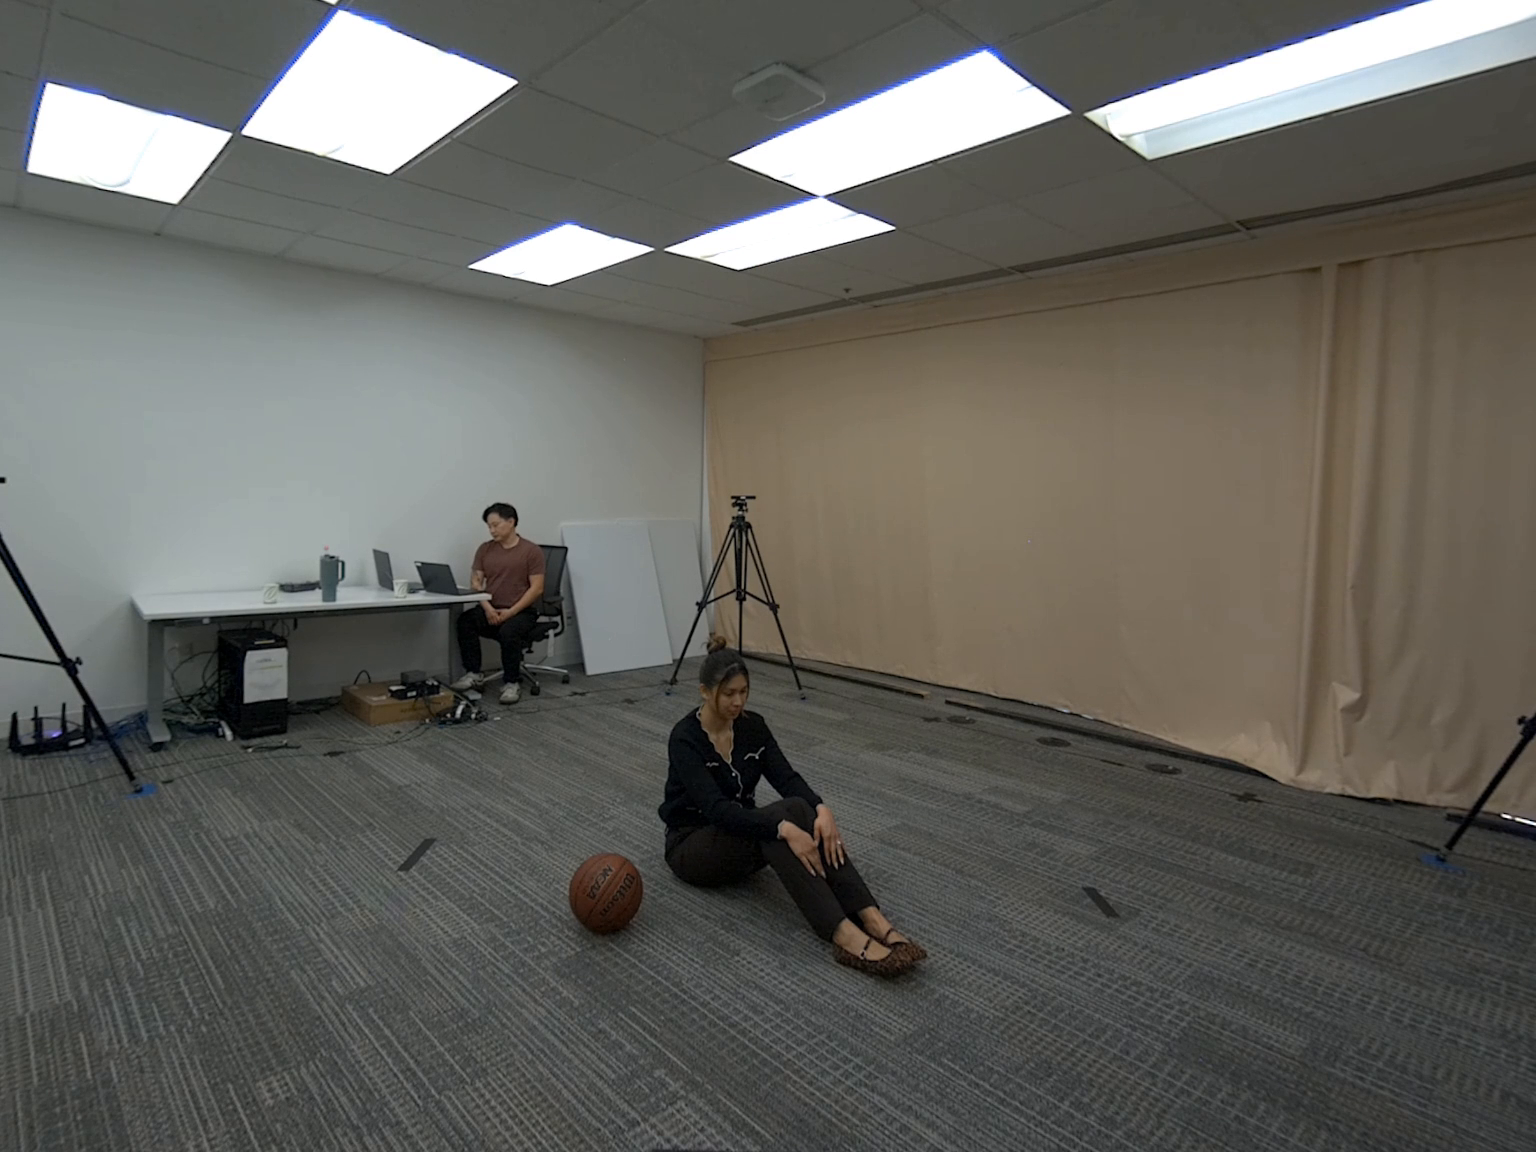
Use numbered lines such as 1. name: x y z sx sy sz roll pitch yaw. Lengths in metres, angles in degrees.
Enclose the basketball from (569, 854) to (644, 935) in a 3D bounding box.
1. basketball: -0.524 1.012 2.696 0.236 0.235 0.237 1 4 -1
